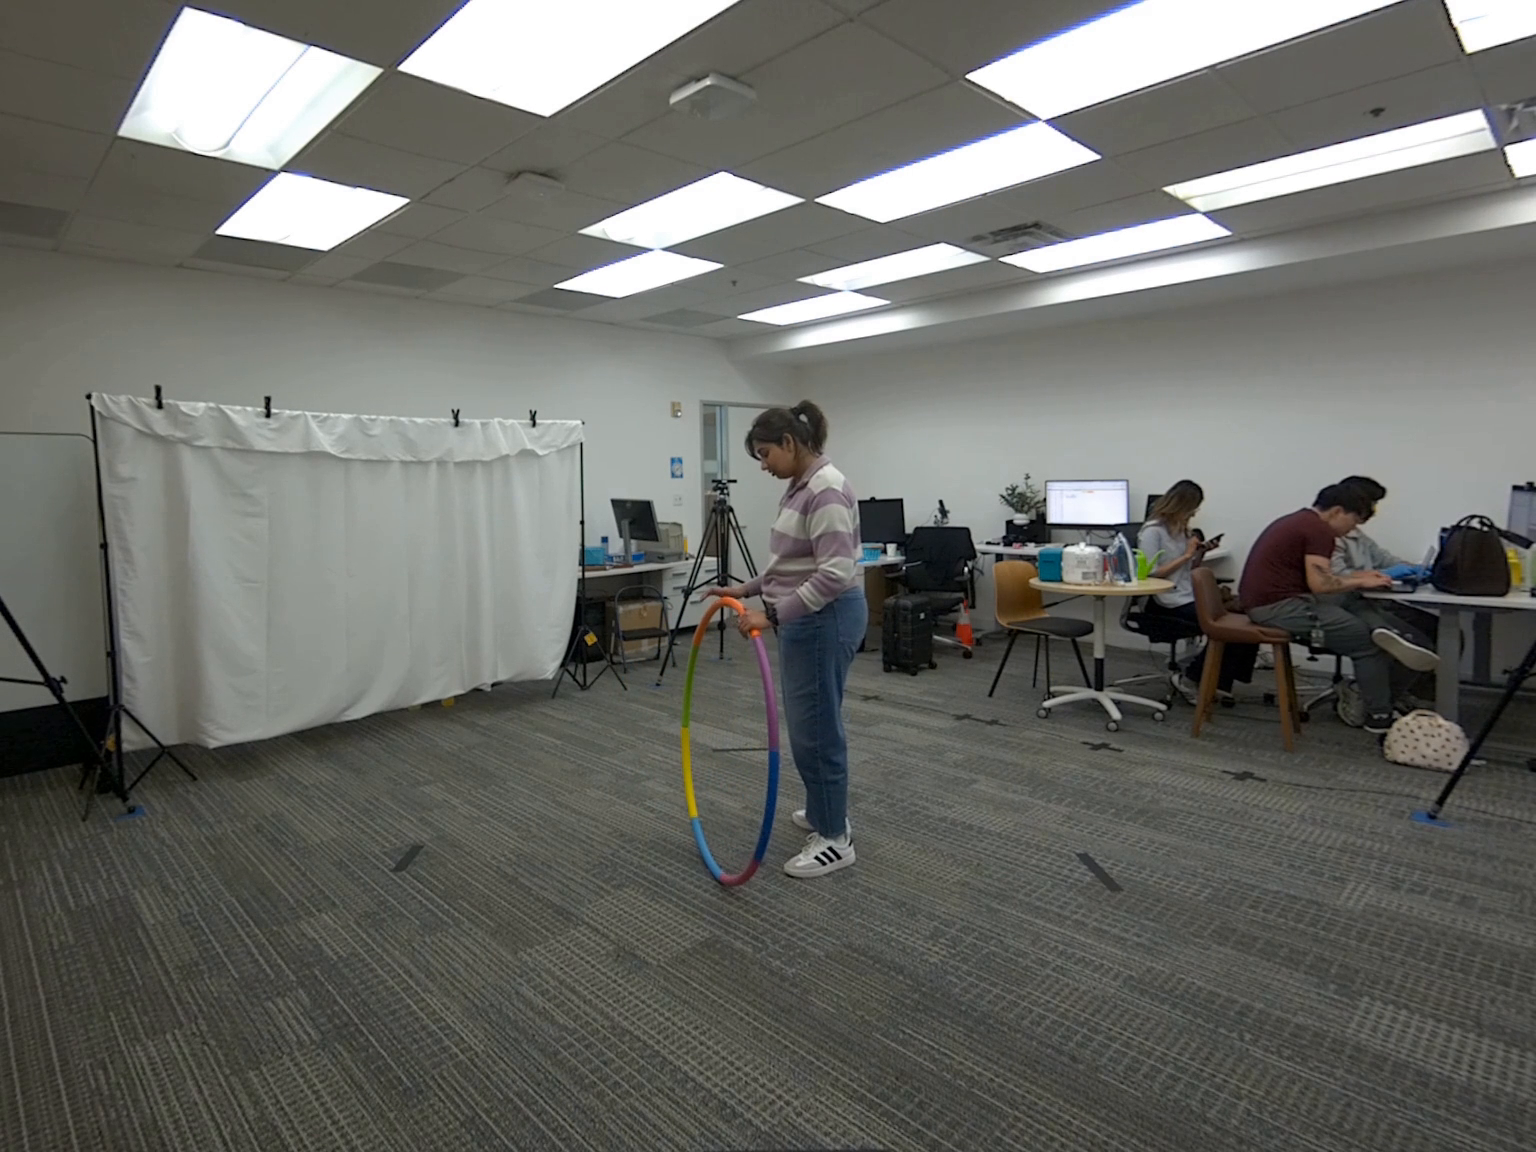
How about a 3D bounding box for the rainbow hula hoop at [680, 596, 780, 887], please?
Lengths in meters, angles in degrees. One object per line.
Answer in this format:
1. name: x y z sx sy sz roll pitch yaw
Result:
1. rainbow hula hoop: -0.160 0.574 3.027 0.050 0.983 1.006 4 3 -21
